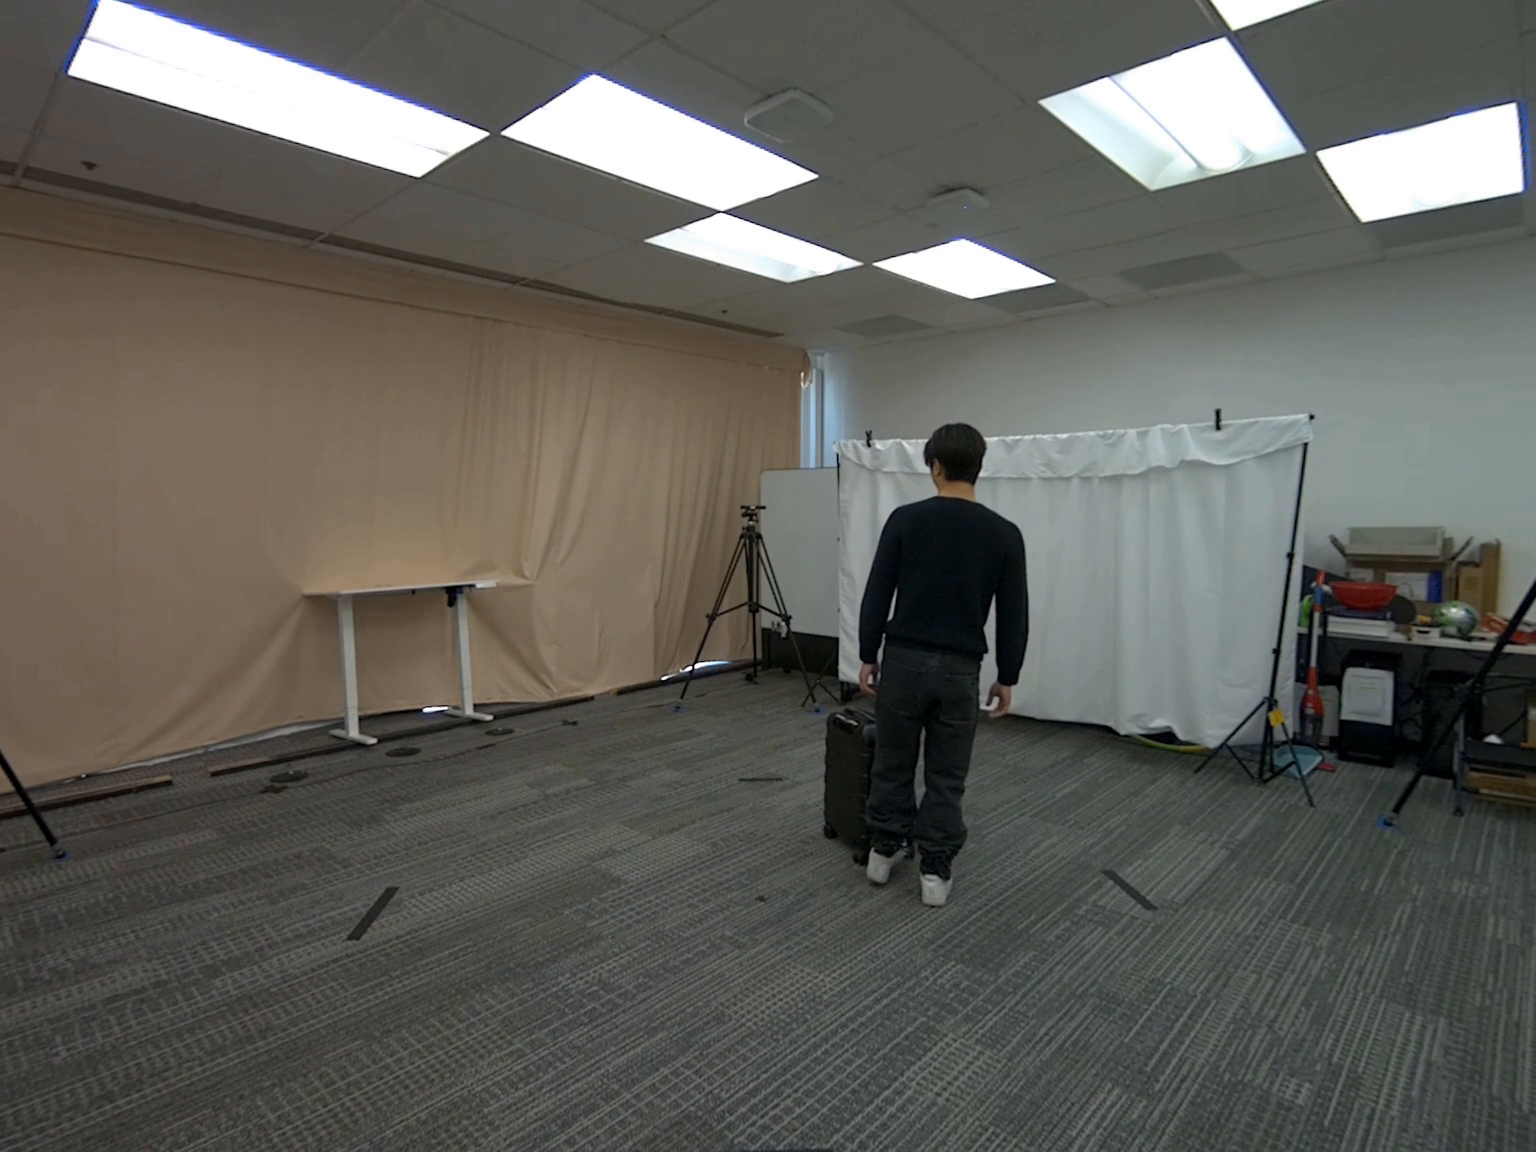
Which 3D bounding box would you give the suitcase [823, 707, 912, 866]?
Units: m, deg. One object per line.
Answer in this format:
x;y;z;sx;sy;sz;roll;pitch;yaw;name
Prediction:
0.415;0.827;3.455;0.243;0.549;0.384;-1;2;-23;suitcase
